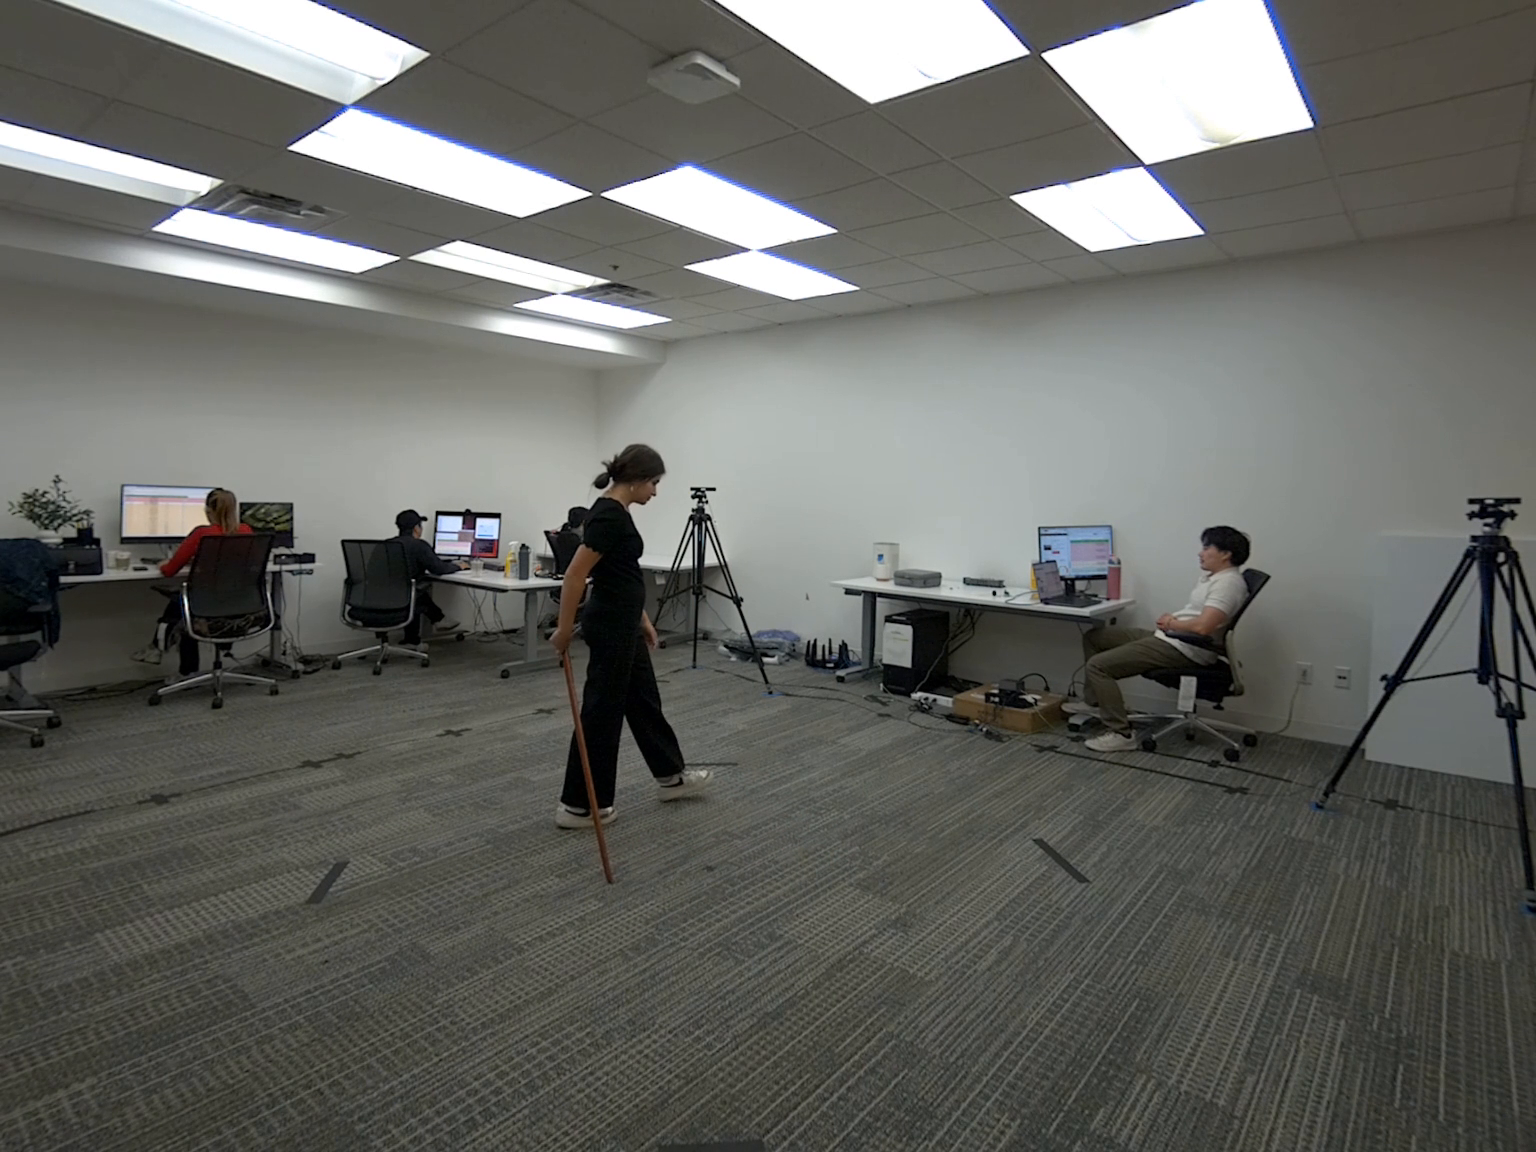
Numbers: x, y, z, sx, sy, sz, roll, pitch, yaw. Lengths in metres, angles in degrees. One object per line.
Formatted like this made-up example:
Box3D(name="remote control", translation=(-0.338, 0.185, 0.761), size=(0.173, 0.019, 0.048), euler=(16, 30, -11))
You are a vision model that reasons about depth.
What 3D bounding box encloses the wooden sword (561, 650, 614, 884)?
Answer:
Box3D(name="wooden sword", translation=(-0.714, 0.643, 3.227), size=(0.024, 1.057, 0.049), euler=(-37, -30, 26))
